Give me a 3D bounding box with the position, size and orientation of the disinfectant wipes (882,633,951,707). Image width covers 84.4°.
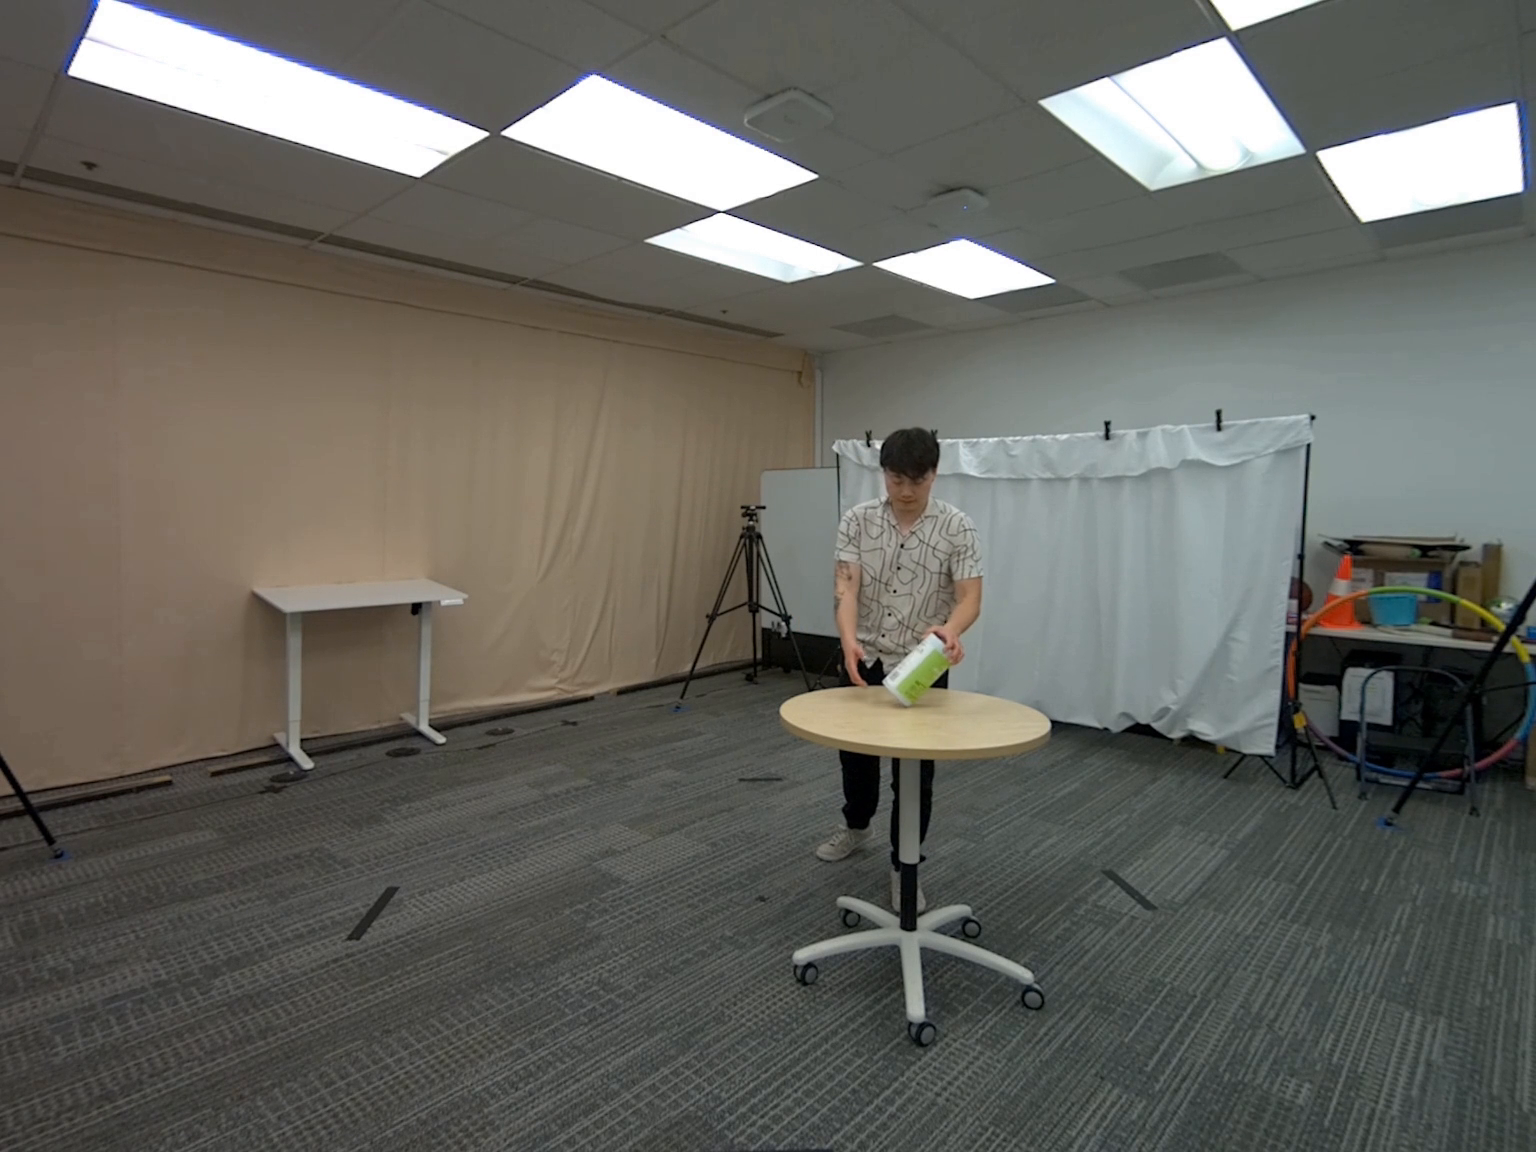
[{"bbox_3d":[0.449,0.281,2.542,0.116,0.218,0.119,39,9,-9],"label":"disinfectant wipes"}]
